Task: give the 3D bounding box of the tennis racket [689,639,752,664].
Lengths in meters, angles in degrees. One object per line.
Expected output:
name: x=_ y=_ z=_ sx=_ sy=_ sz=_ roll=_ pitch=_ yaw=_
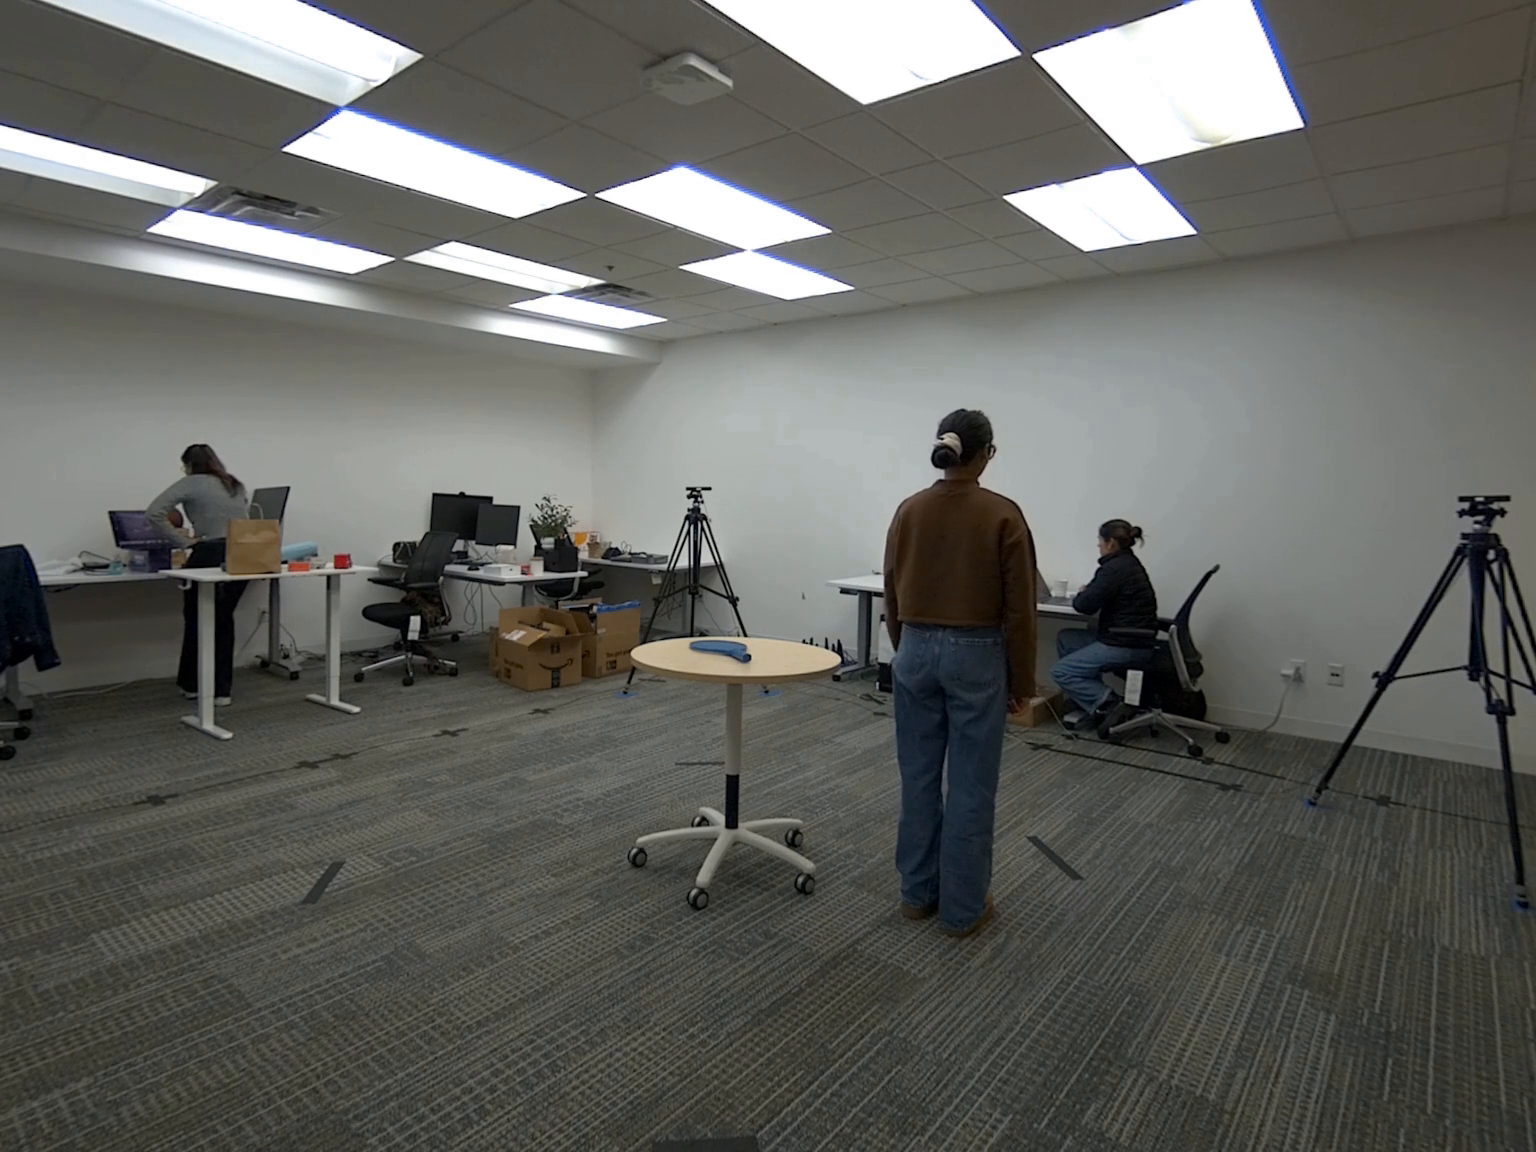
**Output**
tennis racket: x=-0.170 y=0.268 z=3.147 sx=0.210 sy=0.032 sz=0.442 roll=0 pitch=4 yaw=-19
